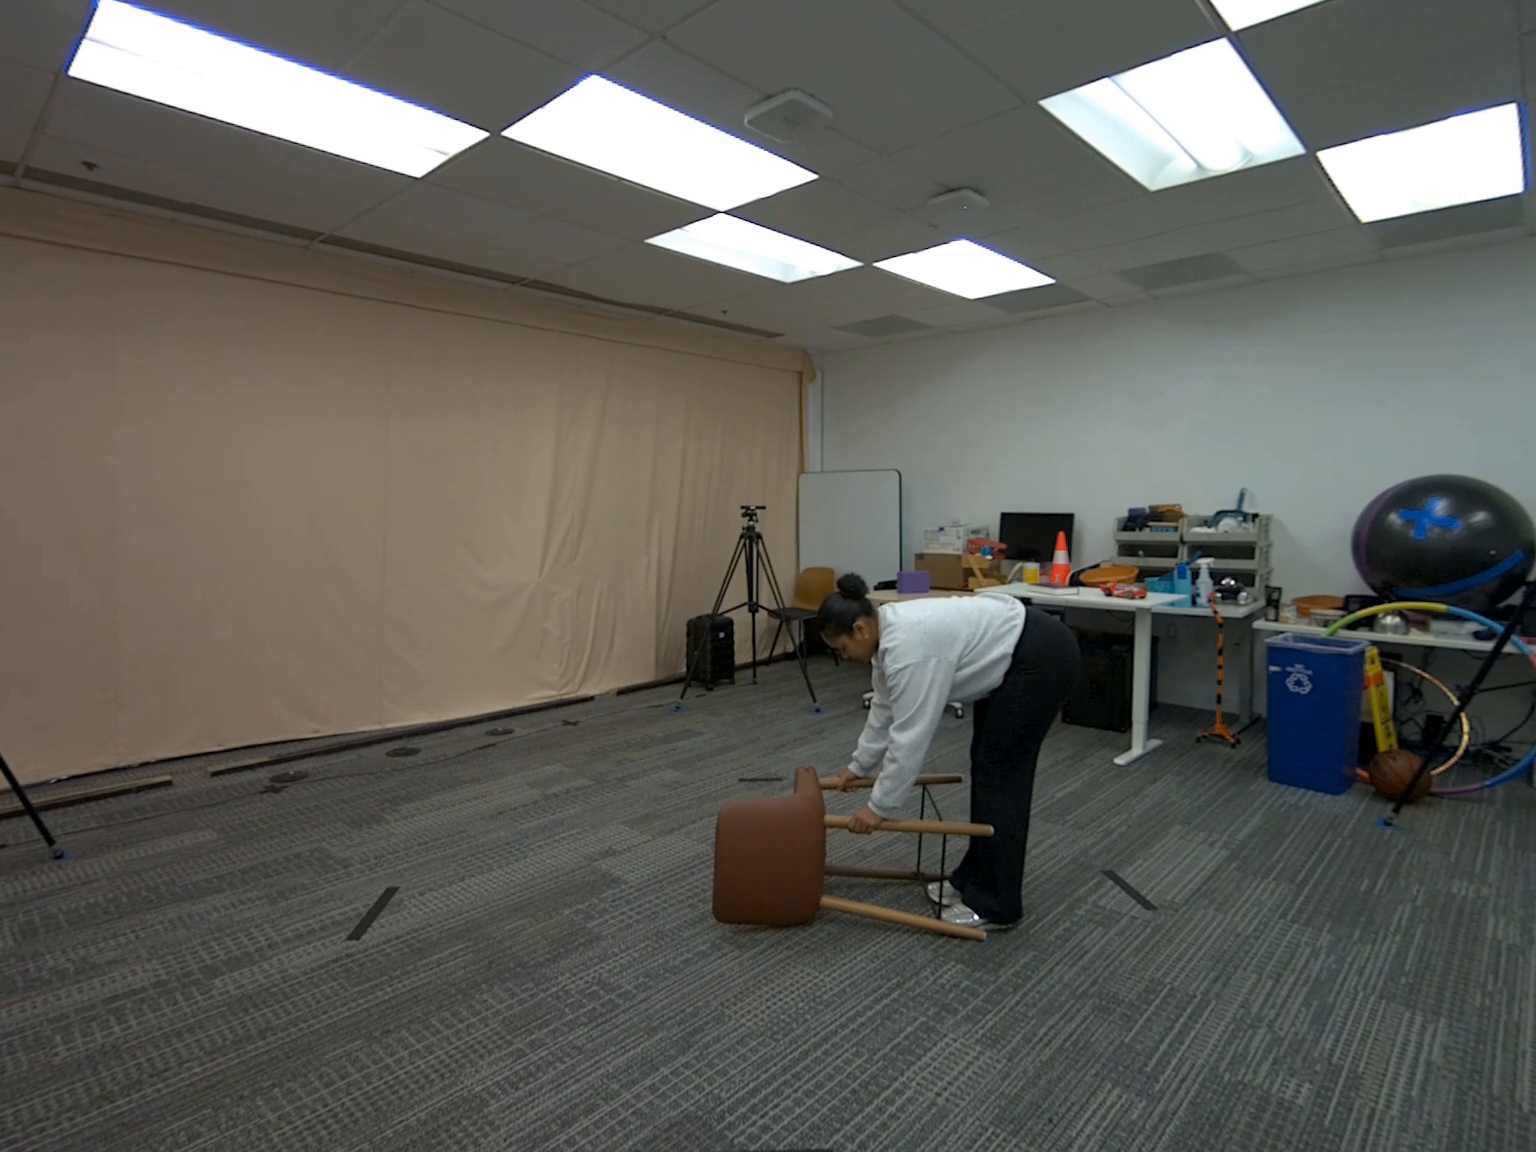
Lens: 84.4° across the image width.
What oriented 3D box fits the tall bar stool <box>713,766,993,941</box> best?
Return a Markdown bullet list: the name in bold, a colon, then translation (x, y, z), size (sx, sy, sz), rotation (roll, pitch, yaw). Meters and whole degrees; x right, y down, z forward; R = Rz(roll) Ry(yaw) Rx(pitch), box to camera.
- **tall bar stool**: translation (0.270, 0.941, 2.908), size (0.891, 0.455, 0.469), rotation (2, 6, 1)
